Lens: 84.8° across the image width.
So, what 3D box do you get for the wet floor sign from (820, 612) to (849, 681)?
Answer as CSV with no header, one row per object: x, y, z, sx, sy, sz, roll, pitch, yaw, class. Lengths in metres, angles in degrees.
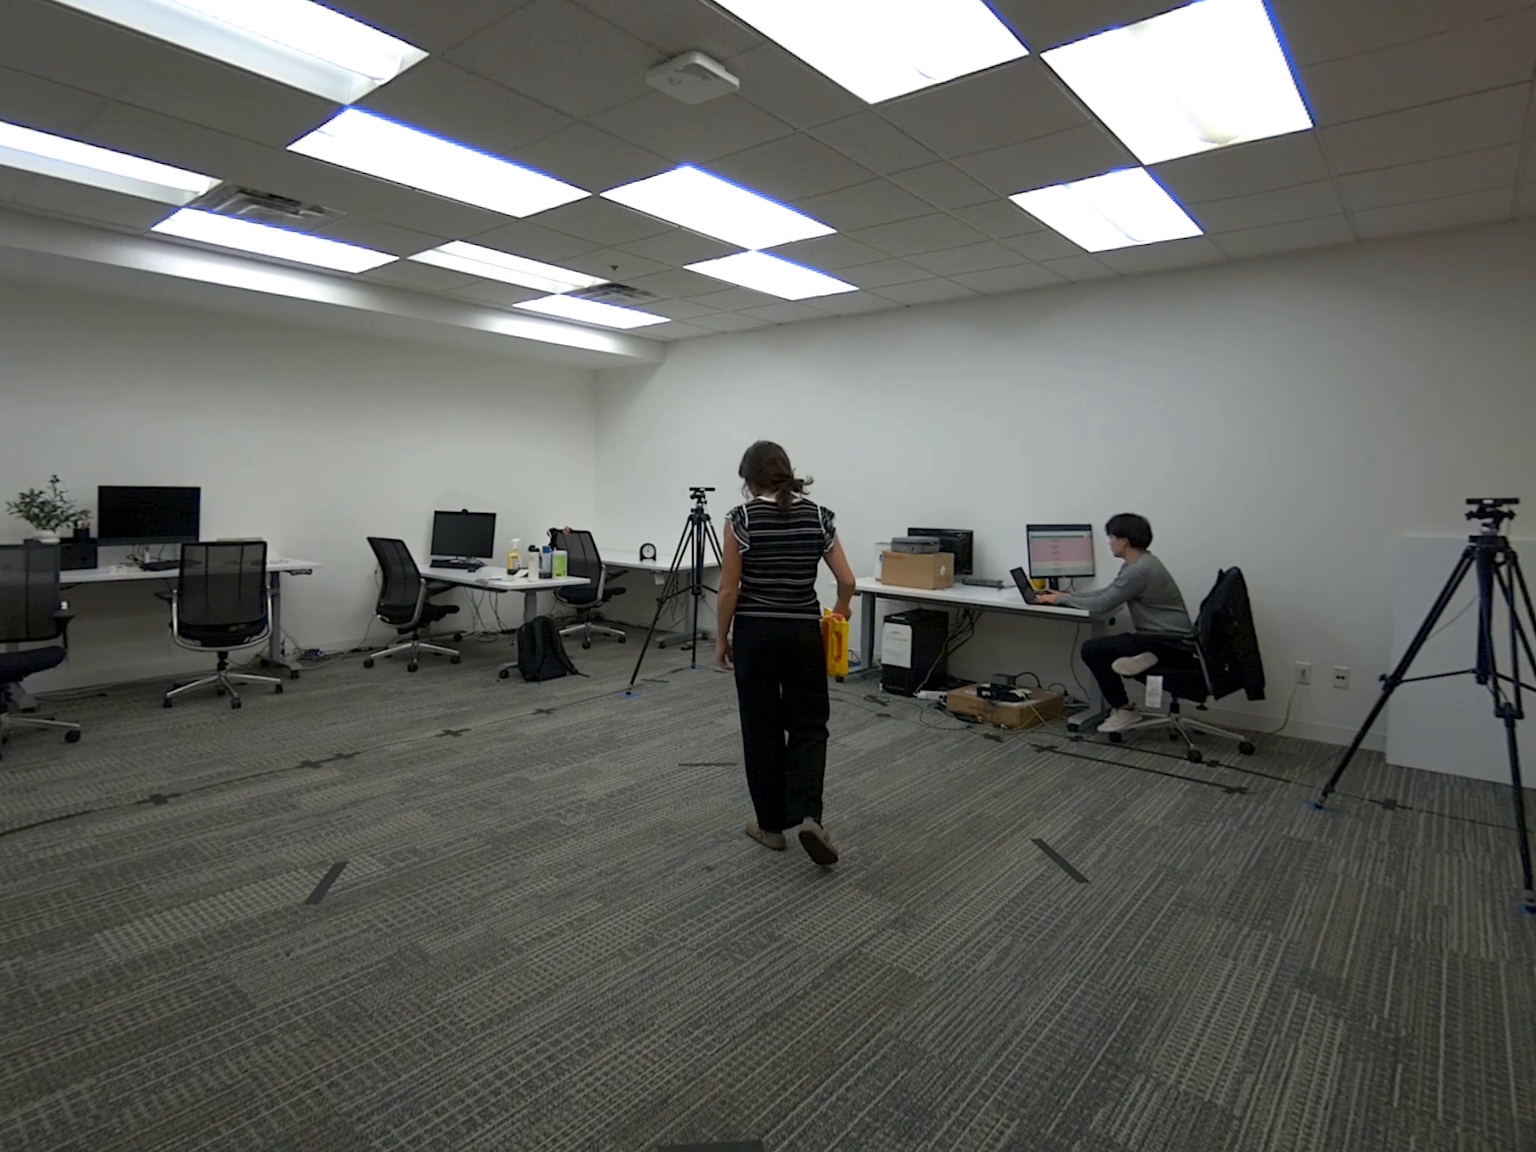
0.212,0.275,3.501,0.285,0.283,0.654,1,-1,-15,wet floor sign
